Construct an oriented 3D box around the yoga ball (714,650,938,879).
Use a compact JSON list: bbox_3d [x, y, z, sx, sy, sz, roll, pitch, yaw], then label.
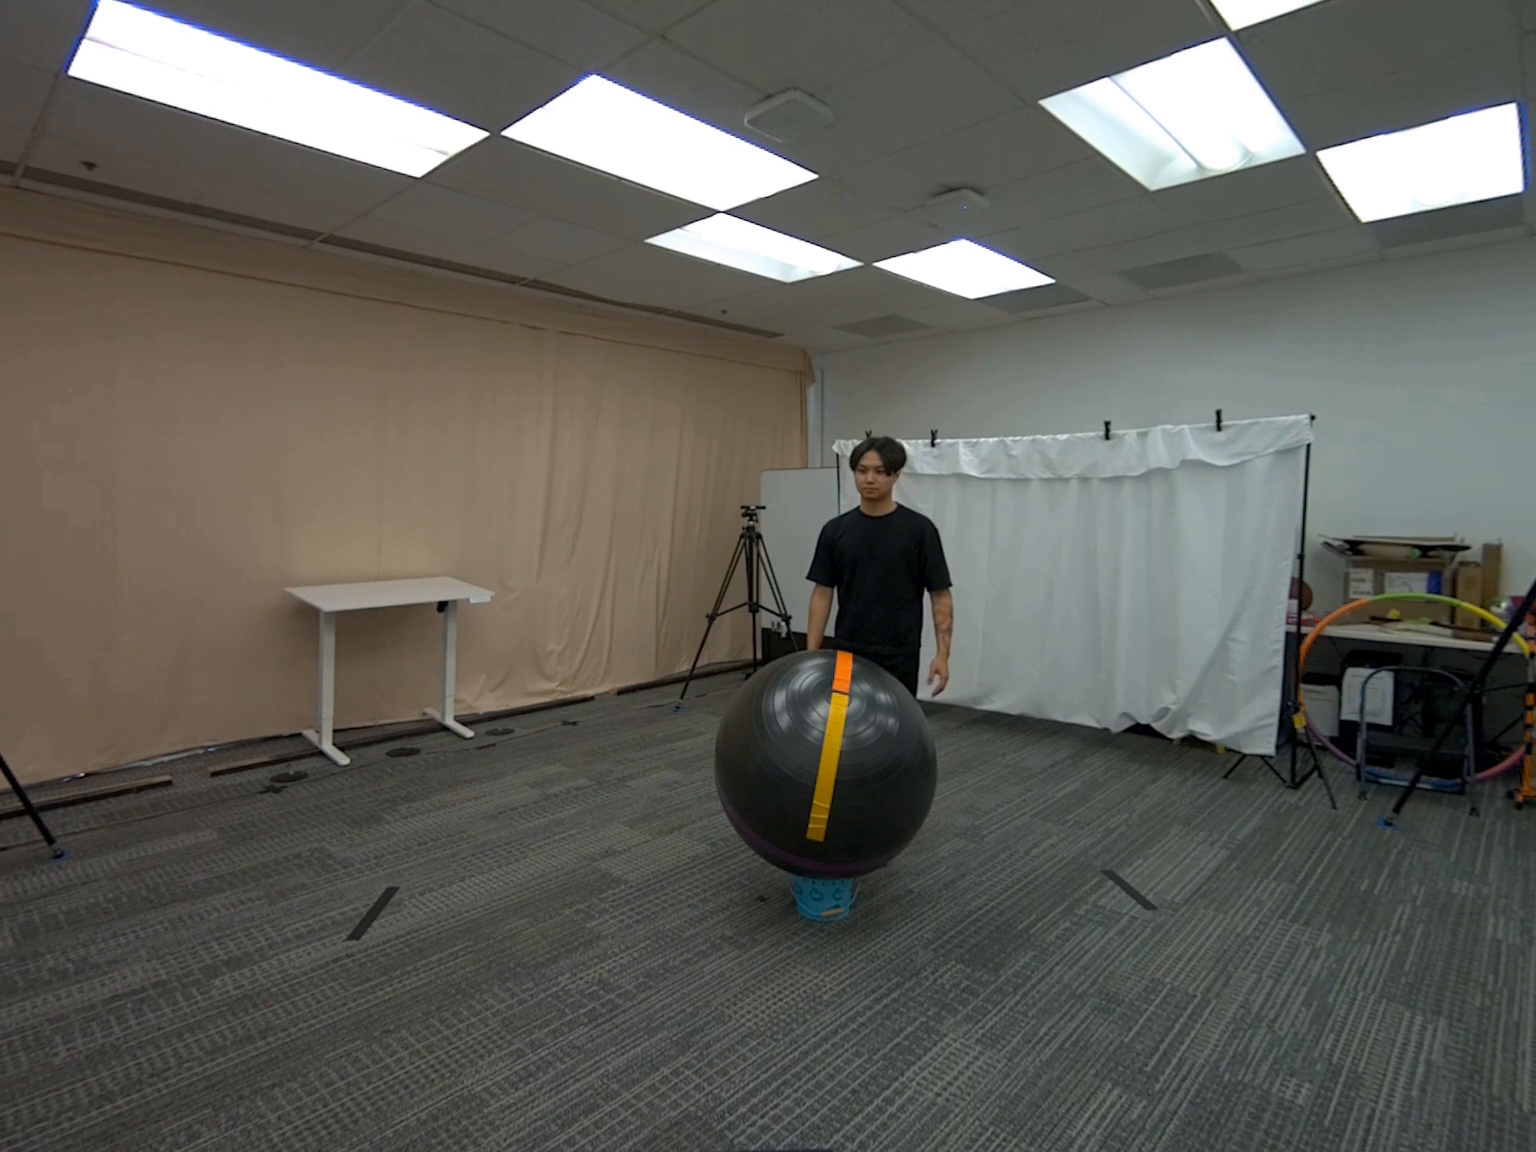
[{"bbox_3d":[0.196,0.643,2.887,0.757,0.756,0.760,0,4,-2],"label":"yoga ball"}]
